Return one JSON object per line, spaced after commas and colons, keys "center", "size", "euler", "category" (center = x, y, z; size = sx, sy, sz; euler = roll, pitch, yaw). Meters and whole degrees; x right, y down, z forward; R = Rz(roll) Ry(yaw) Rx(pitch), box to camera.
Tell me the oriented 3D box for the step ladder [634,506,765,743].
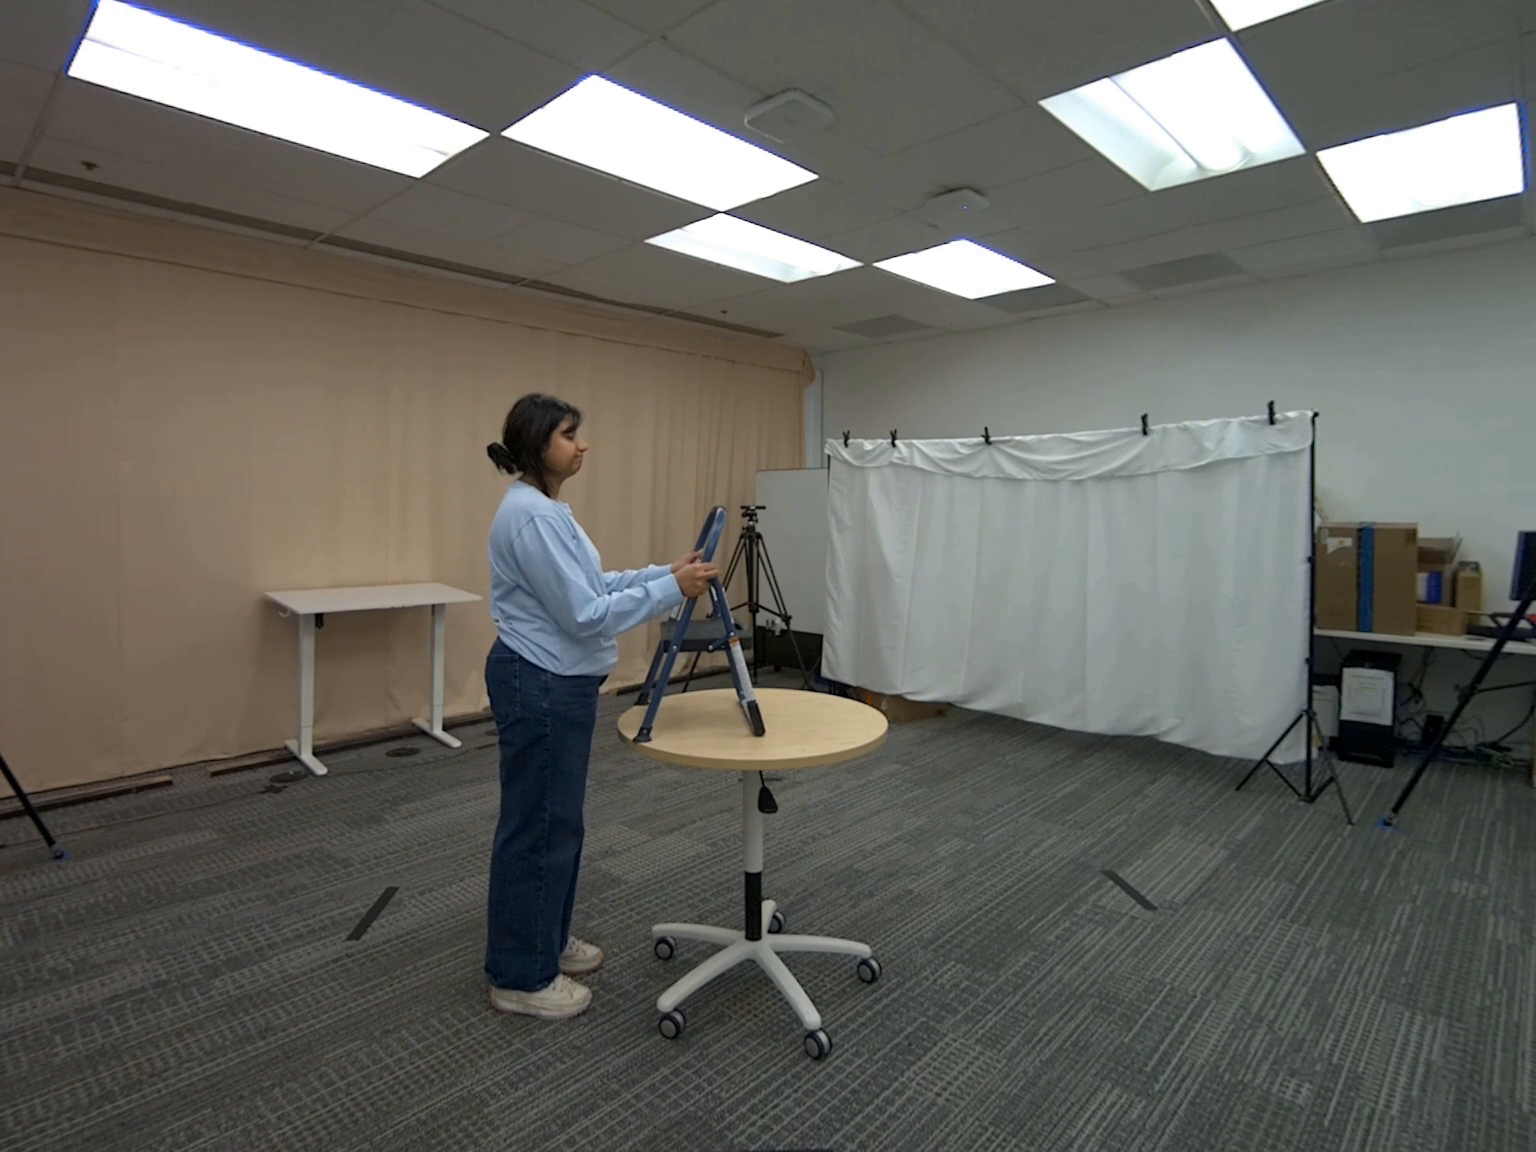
{"center": [-0.207, 0.108, 2.383], "size": [0.347, 0.605, 0.434], "euler": [-2, 3, -7], "category": "step ladder"}
